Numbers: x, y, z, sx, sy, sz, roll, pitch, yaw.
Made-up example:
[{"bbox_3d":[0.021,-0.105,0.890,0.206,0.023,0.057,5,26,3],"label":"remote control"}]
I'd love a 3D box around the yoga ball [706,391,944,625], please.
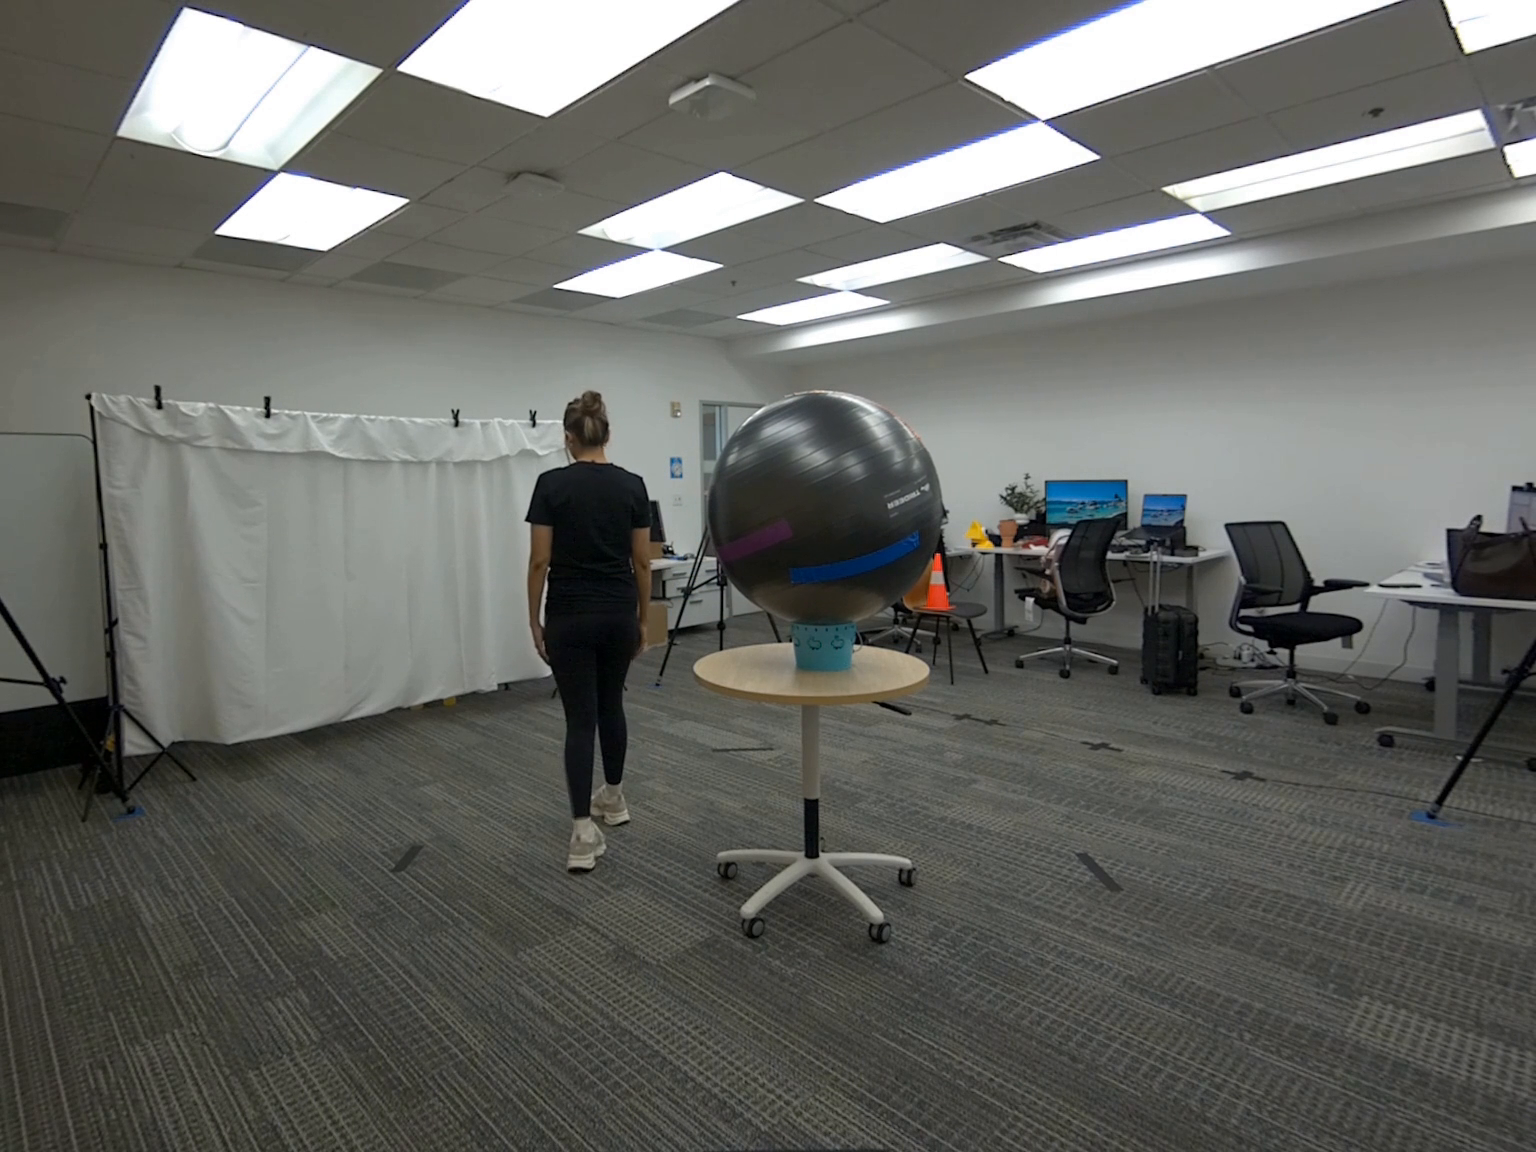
[{"bbox_3d":[0.183,-0.212,2.770,0.757,0.755,0.762,-1,5,-2],"label":"yoga ball"}]
